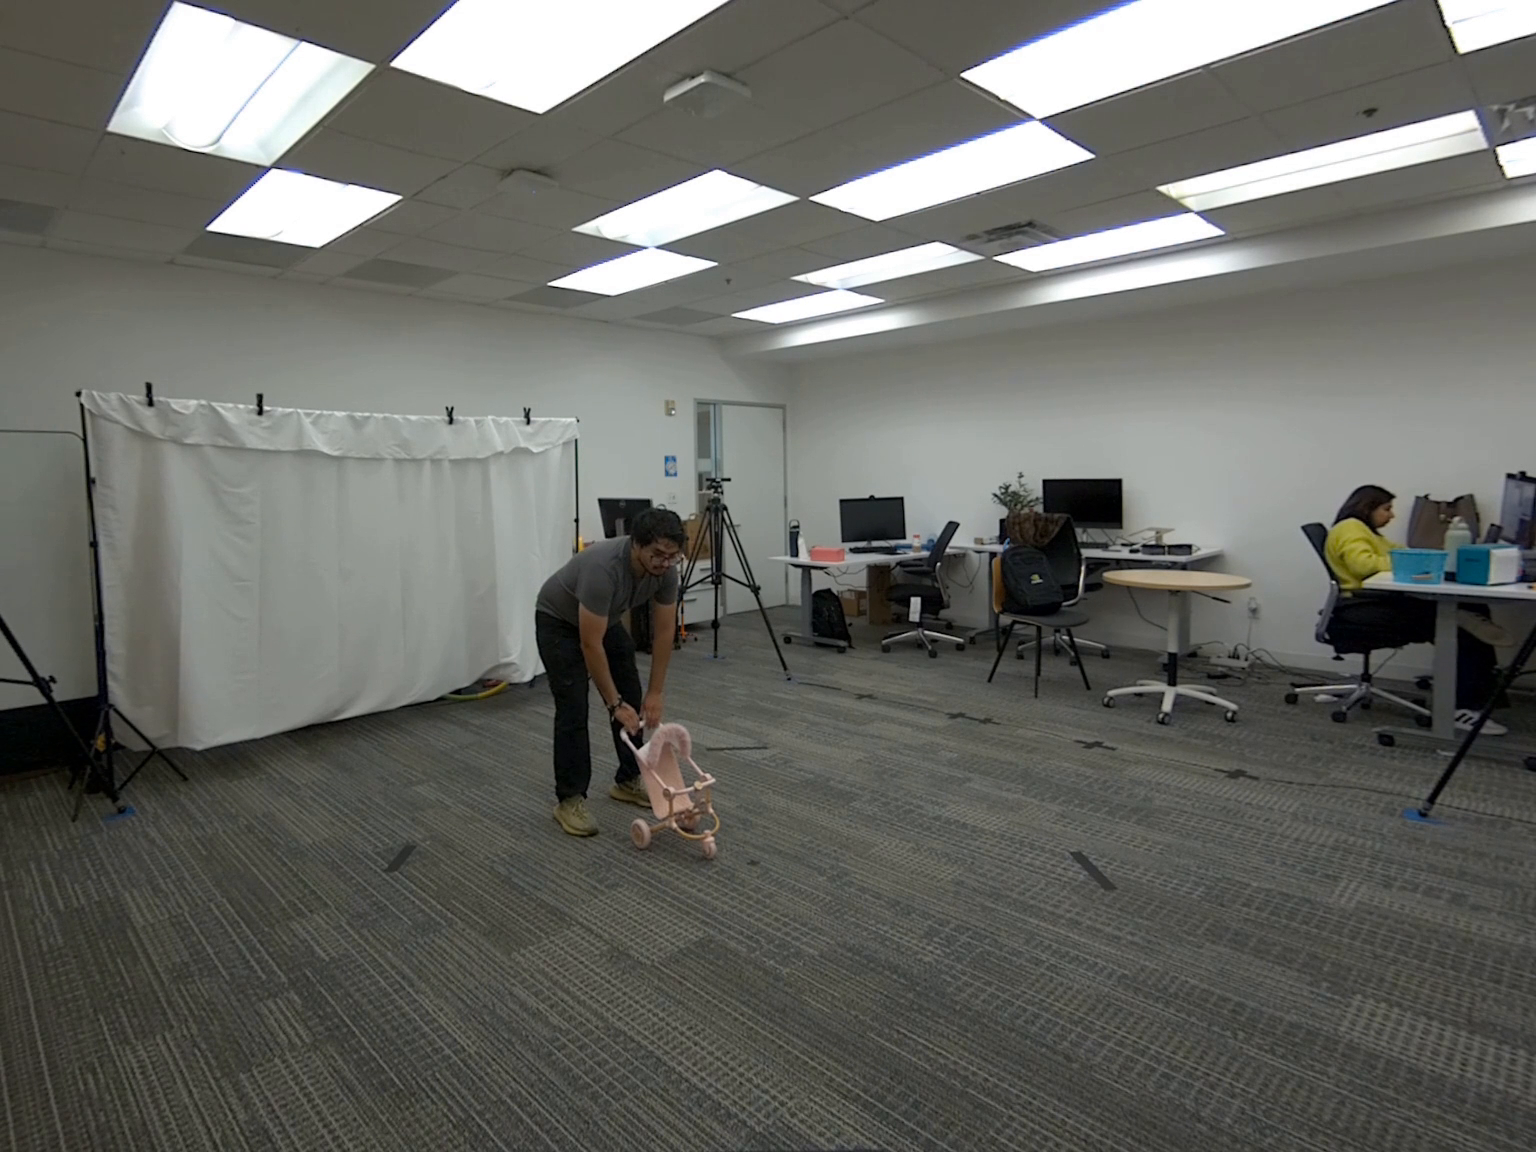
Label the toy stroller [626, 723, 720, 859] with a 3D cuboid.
[{"bbox_3d":[-0.359,0.803,3.272,0.274,0.540,0.347,-5,-11,-41],"label":"toy stroller"}]
